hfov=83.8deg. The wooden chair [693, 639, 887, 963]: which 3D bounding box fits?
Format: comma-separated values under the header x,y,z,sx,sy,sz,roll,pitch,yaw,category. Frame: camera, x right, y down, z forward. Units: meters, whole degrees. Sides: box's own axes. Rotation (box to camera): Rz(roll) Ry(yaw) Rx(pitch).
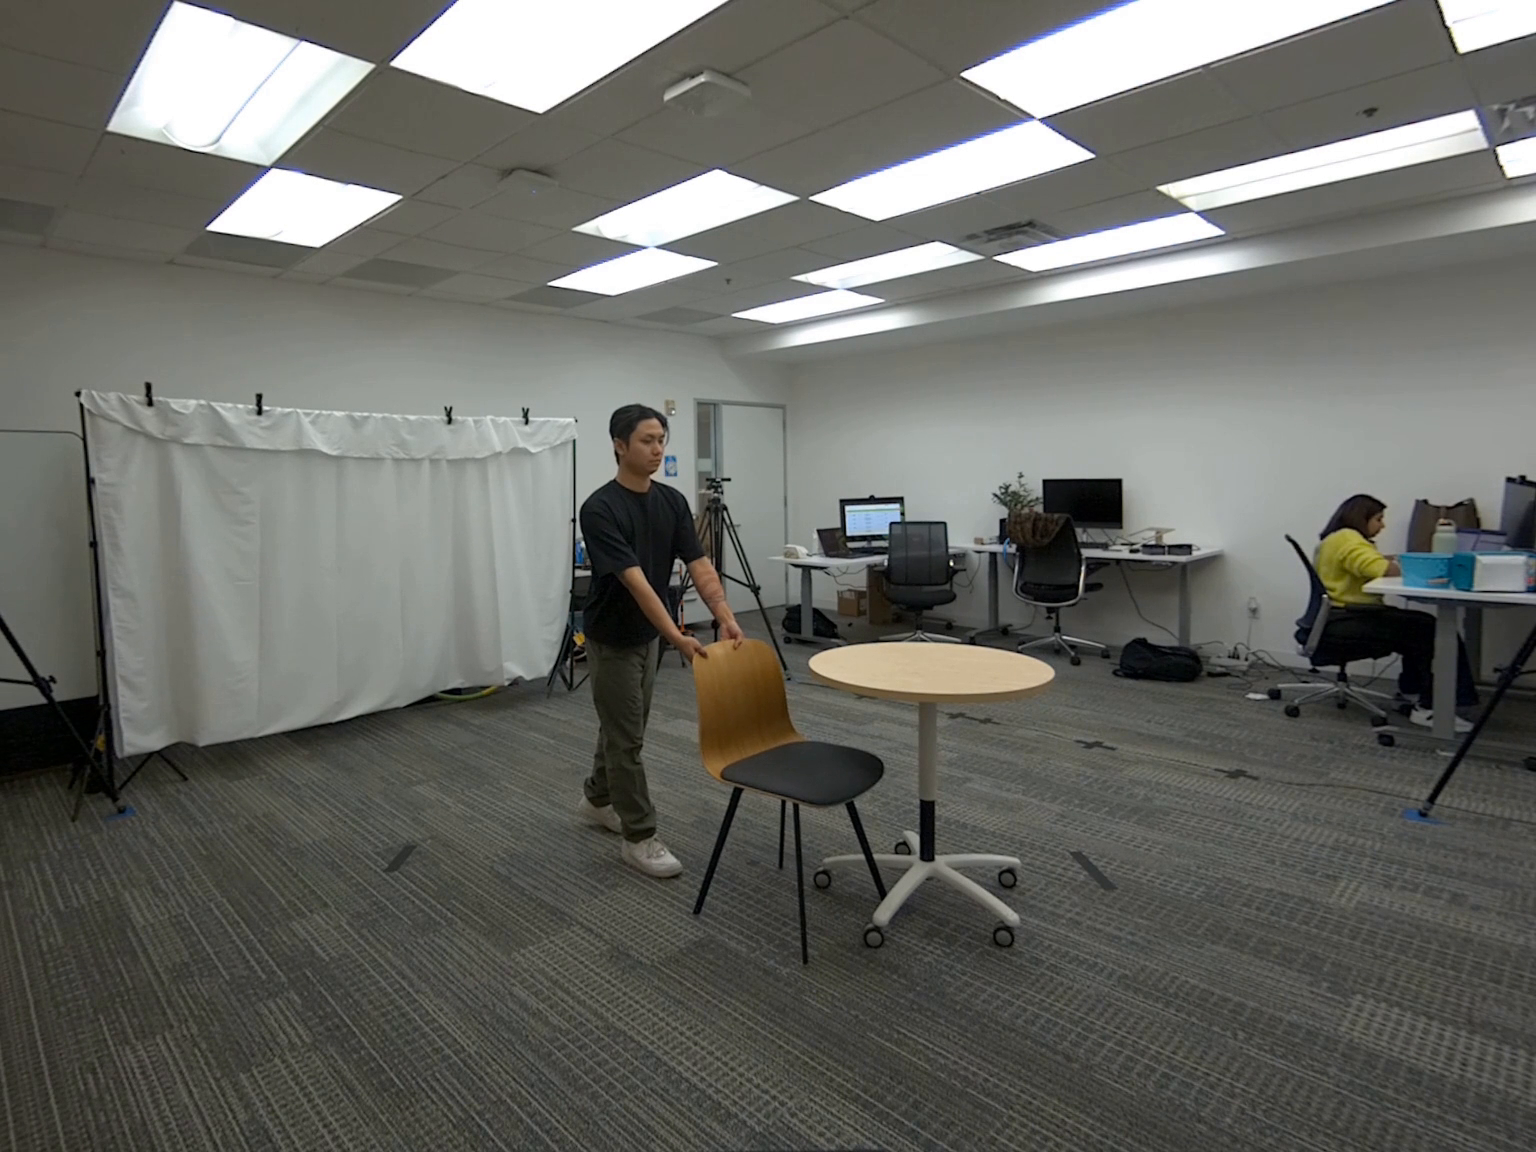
x,y,z,sx,sy,sz,roll,pitch,yaw,category
0.072,0.653,2.720,0.537,0.877,0.466,-4,1,42,wooden chair
